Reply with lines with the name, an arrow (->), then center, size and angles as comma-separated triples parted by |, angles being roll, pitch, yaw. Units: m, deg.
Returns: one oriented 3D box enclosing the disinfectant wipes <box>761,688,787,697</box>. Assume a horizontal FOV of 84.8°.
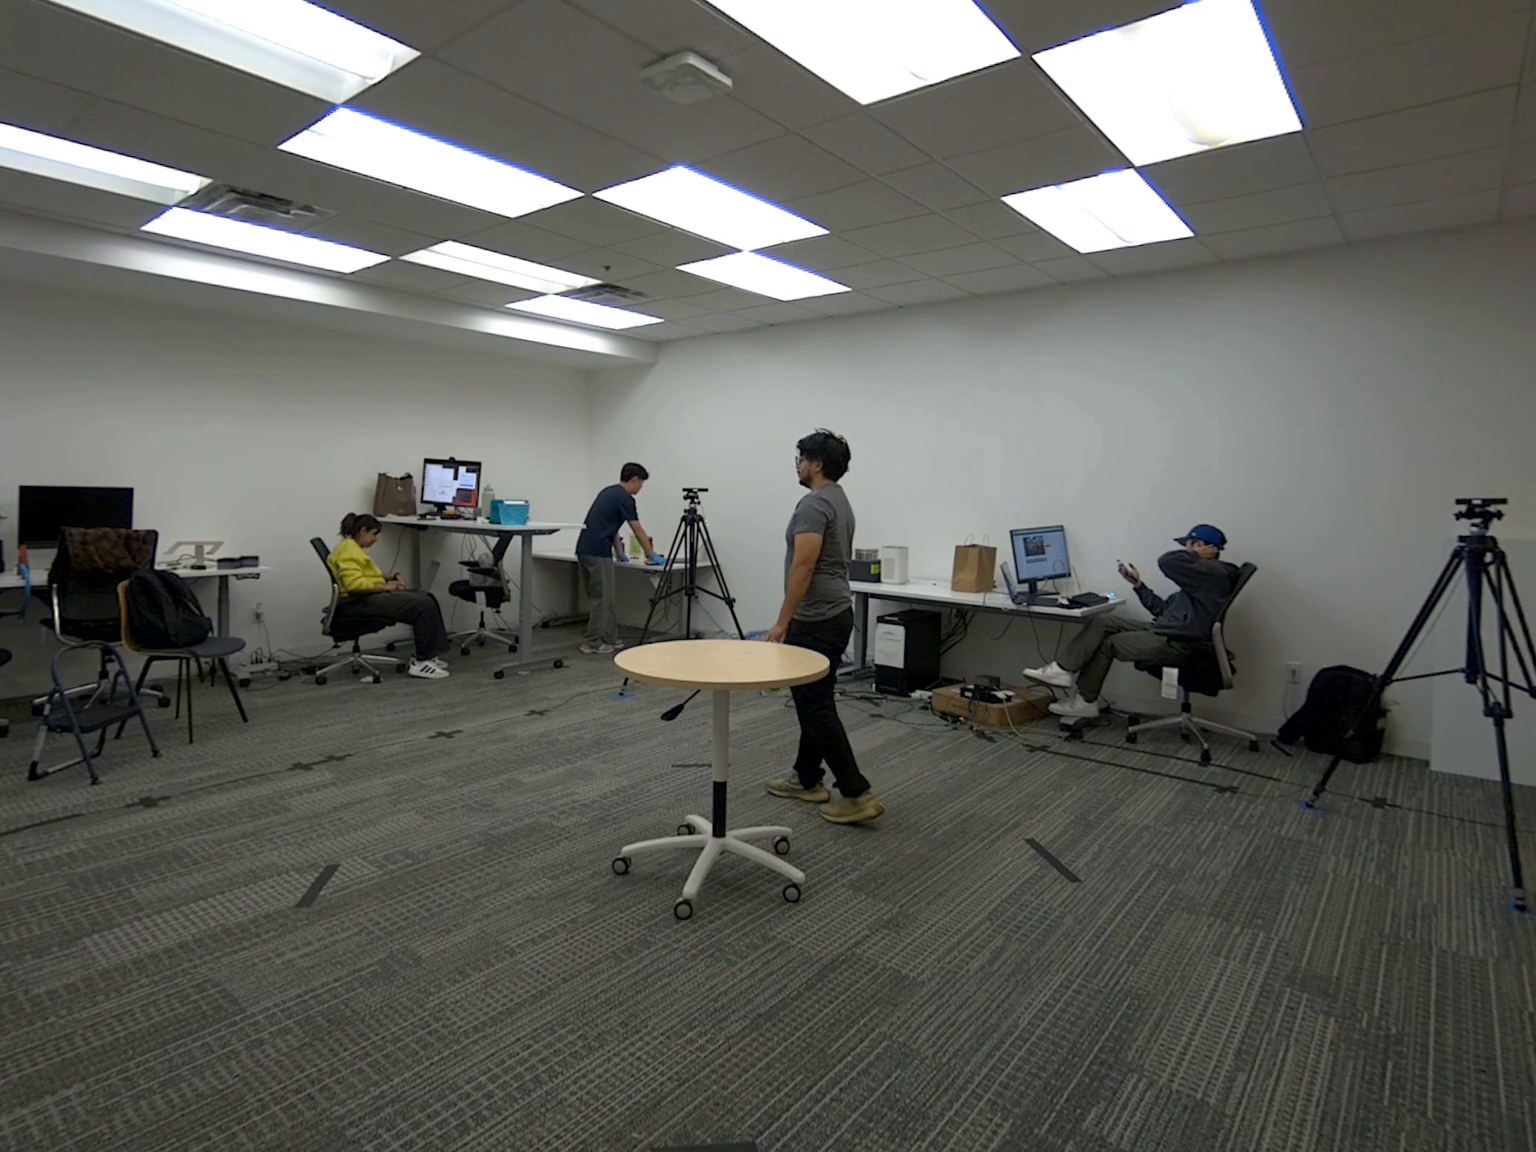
disinfectant wipes -> 0.011, 0.379, 3.531 | 0.118, 0.216, 0.118 | -2, 5, -2
